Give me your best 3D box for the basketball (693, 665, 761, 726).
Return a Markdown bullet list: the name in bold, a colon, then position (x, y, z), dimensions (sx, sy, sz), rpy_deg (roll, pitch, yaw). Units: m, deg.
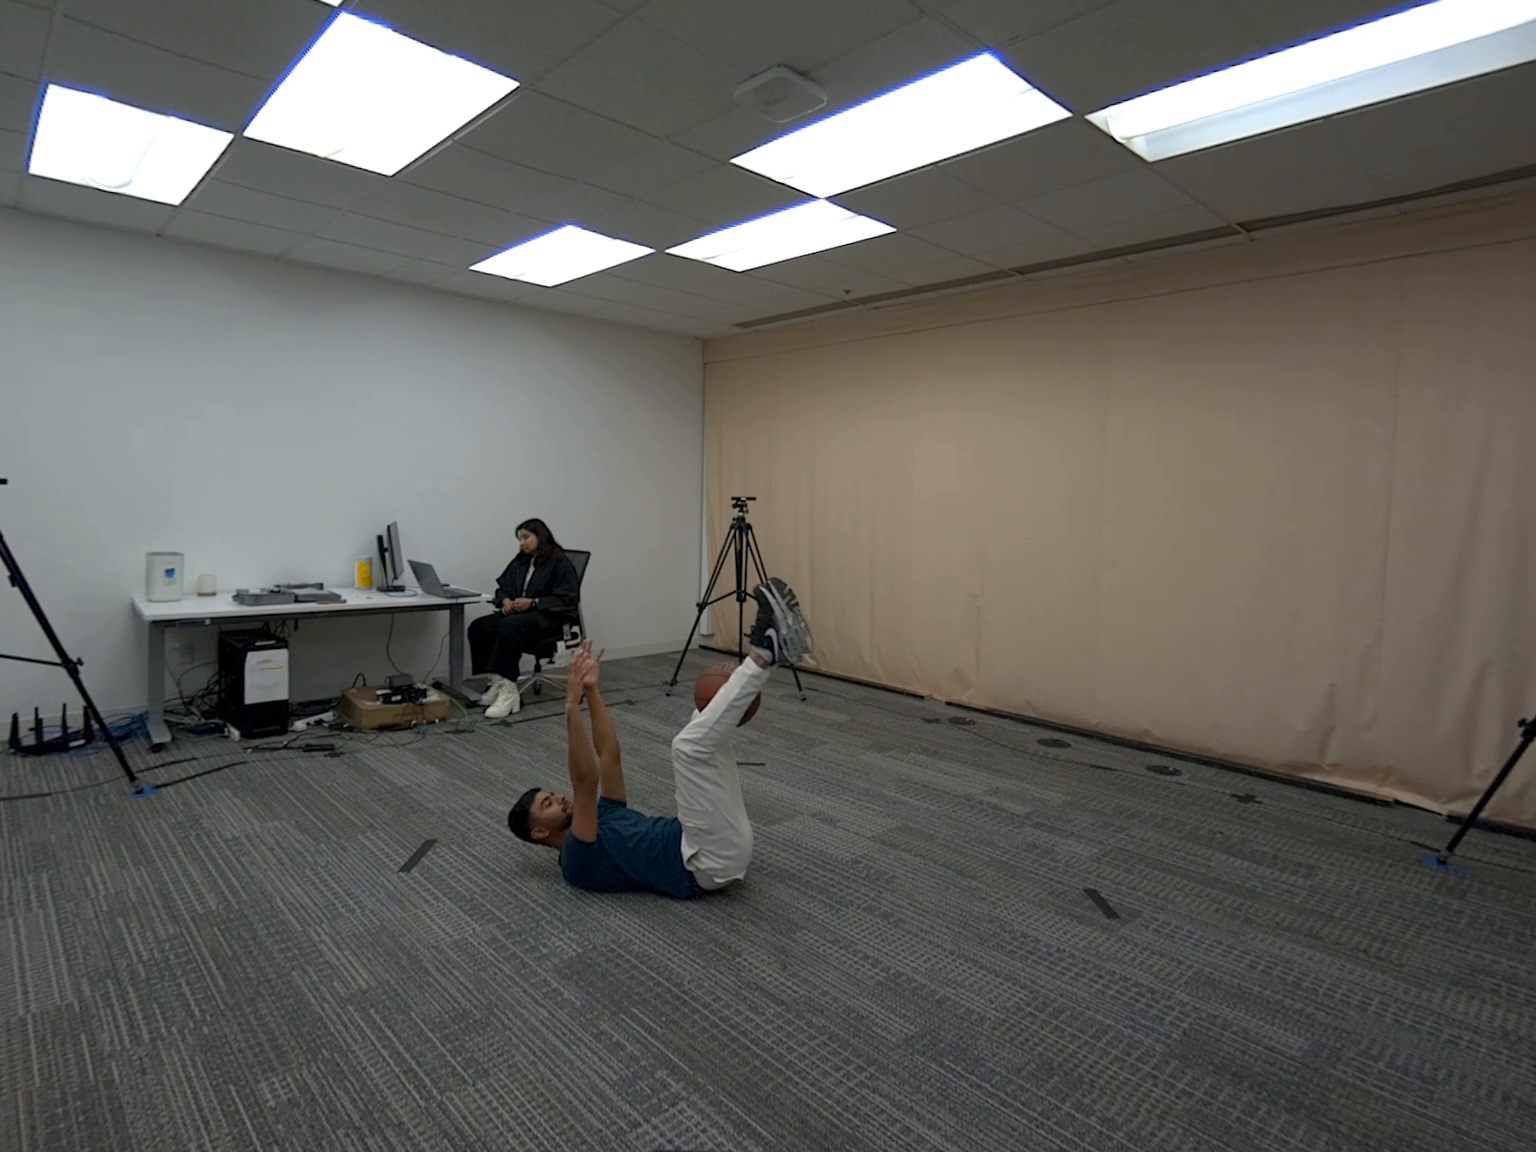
- **basketball**: position (-0.138, 0.428, 2.984), dimensions (0.236, 0.235, 0.237), rpy_deg (1, 4, -1)
